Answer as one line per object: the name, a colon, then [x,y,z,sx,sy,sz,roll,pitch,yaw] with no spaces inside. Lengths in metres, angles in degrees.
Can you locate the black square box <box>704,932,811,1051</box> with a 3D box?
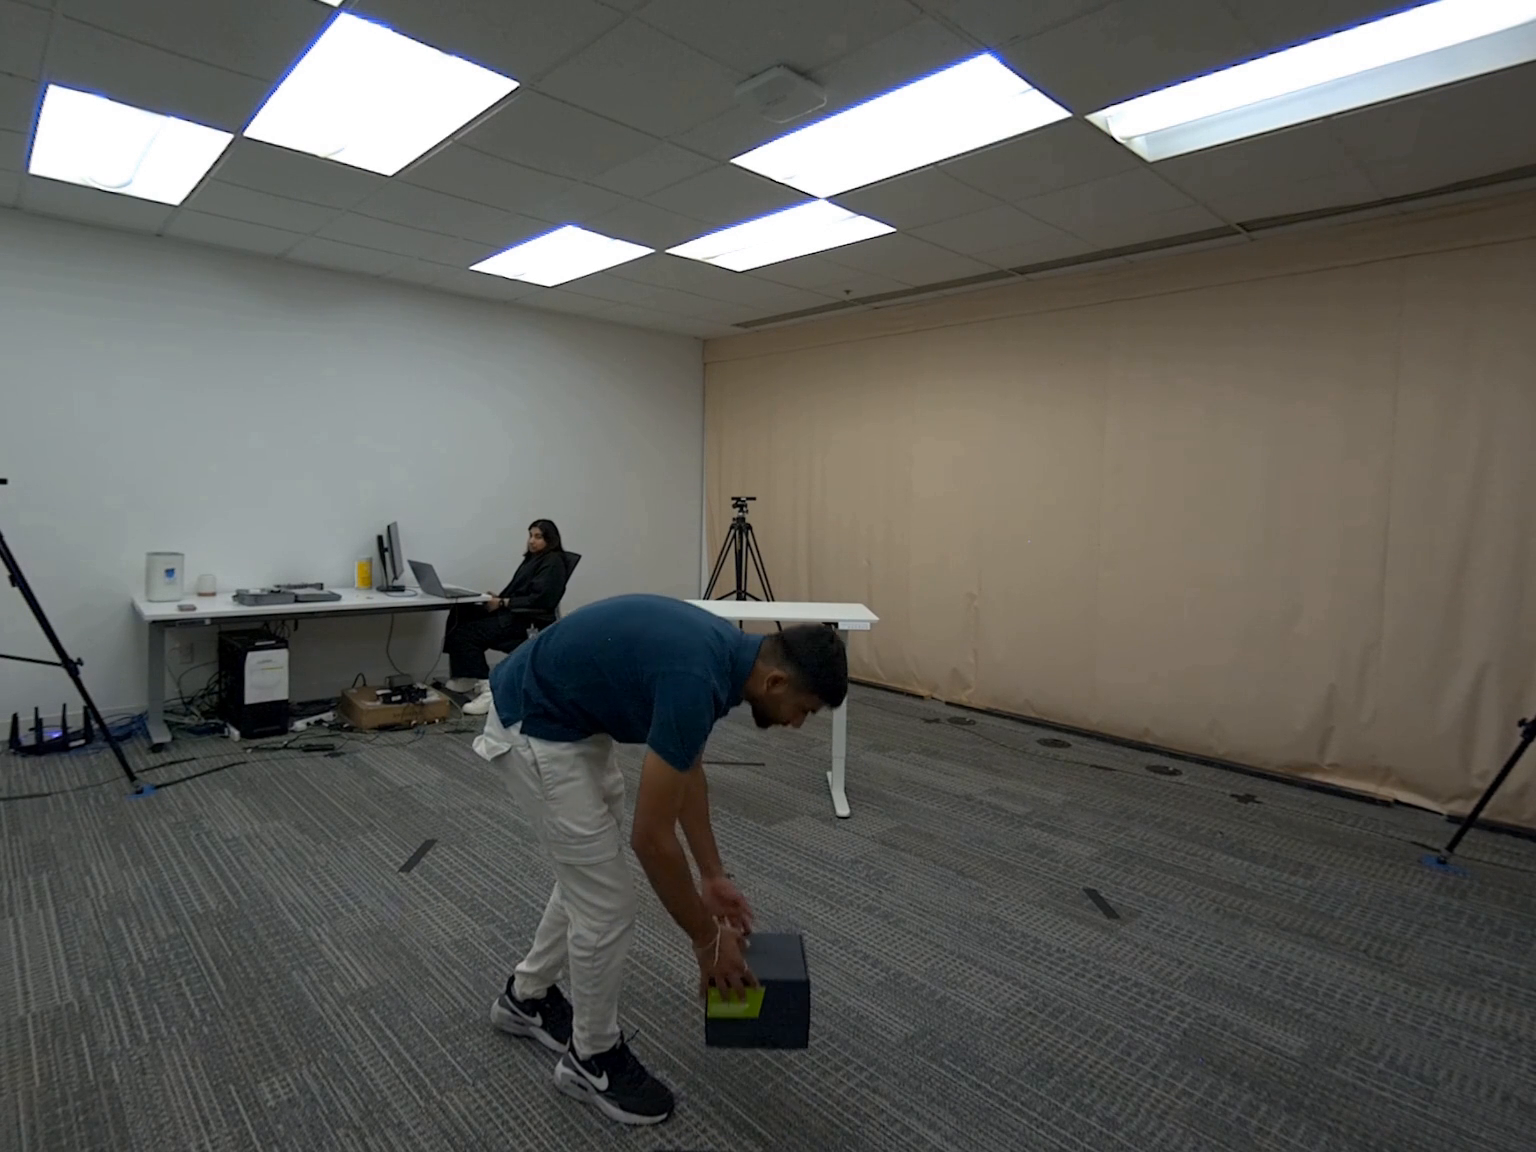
black square box: [-0.036,0.940,1.922,0.228,0.155,0.217,2,4,-1]
